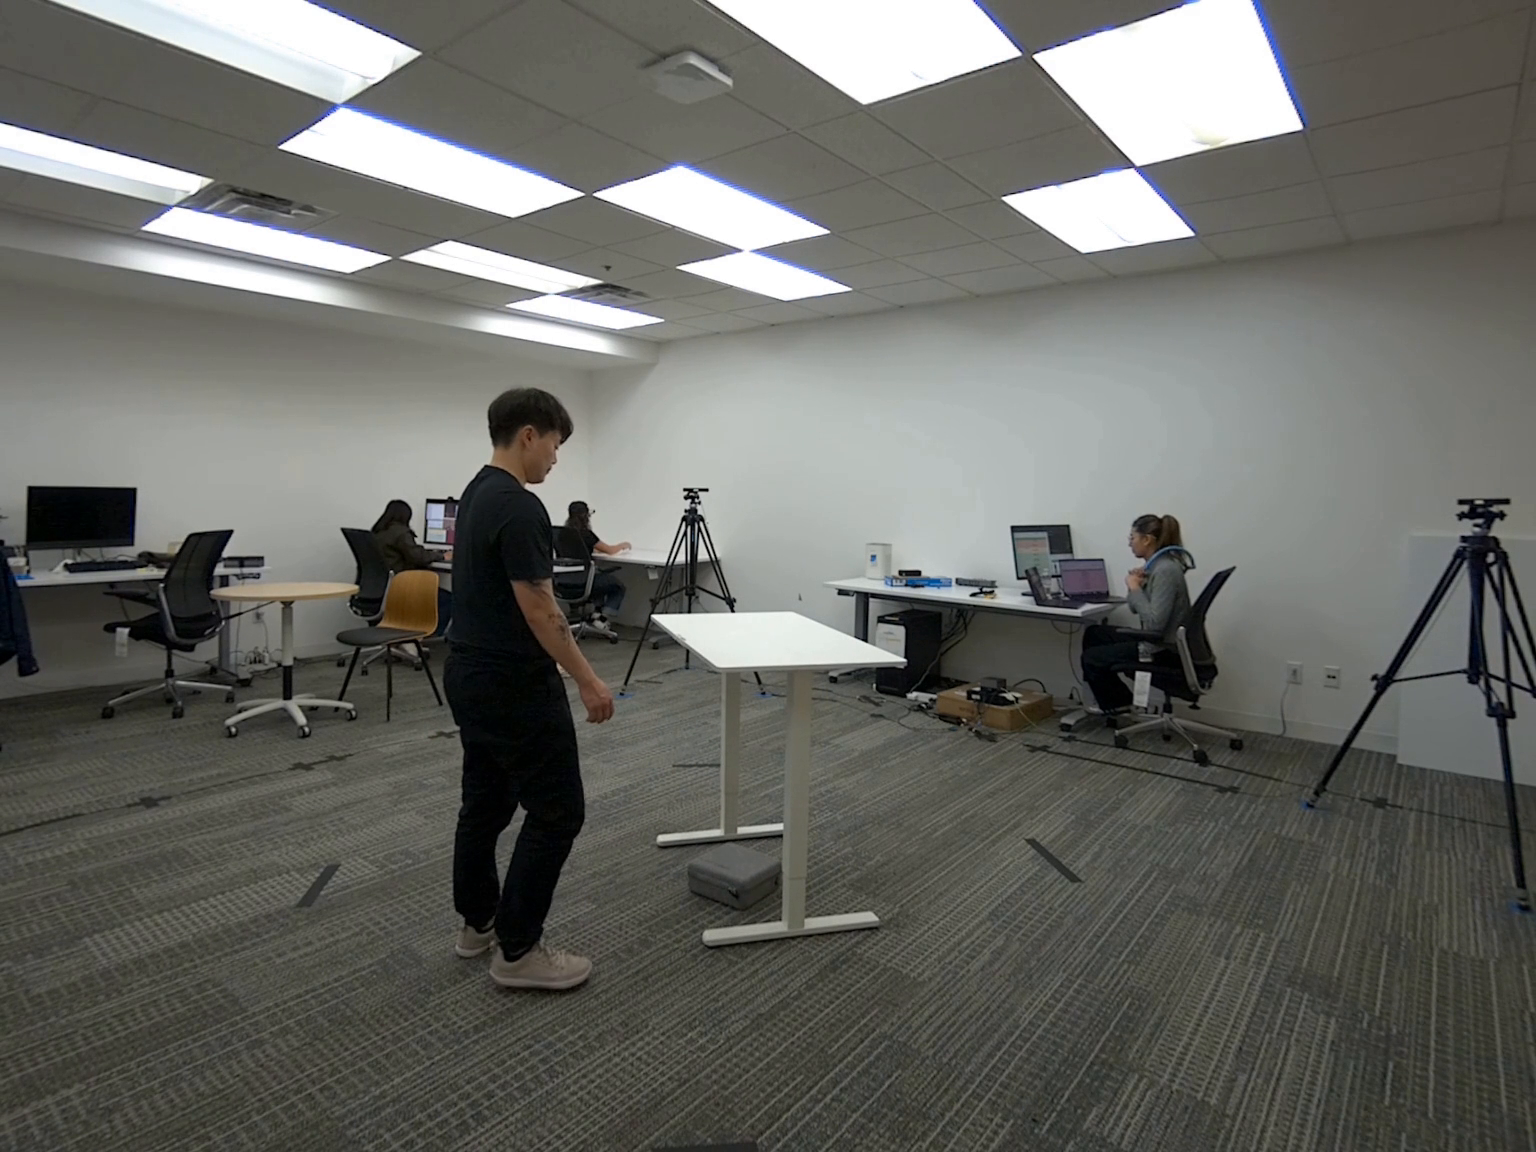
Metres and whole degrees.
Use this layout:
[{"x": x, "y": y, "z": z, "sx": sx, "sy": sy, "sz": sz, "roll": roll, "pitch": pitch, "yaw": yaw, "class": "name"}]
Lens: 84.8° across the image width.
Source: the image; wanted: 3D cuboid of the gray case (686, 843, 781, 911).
[{"x": -0.124, "y": 1.022, "z": 2.962, "sx": 0.265, "sy": 0.104, "sz": 0.253, "roll": 3, "pitch": 4, "yaw": 37, "class": "gray case"}]
